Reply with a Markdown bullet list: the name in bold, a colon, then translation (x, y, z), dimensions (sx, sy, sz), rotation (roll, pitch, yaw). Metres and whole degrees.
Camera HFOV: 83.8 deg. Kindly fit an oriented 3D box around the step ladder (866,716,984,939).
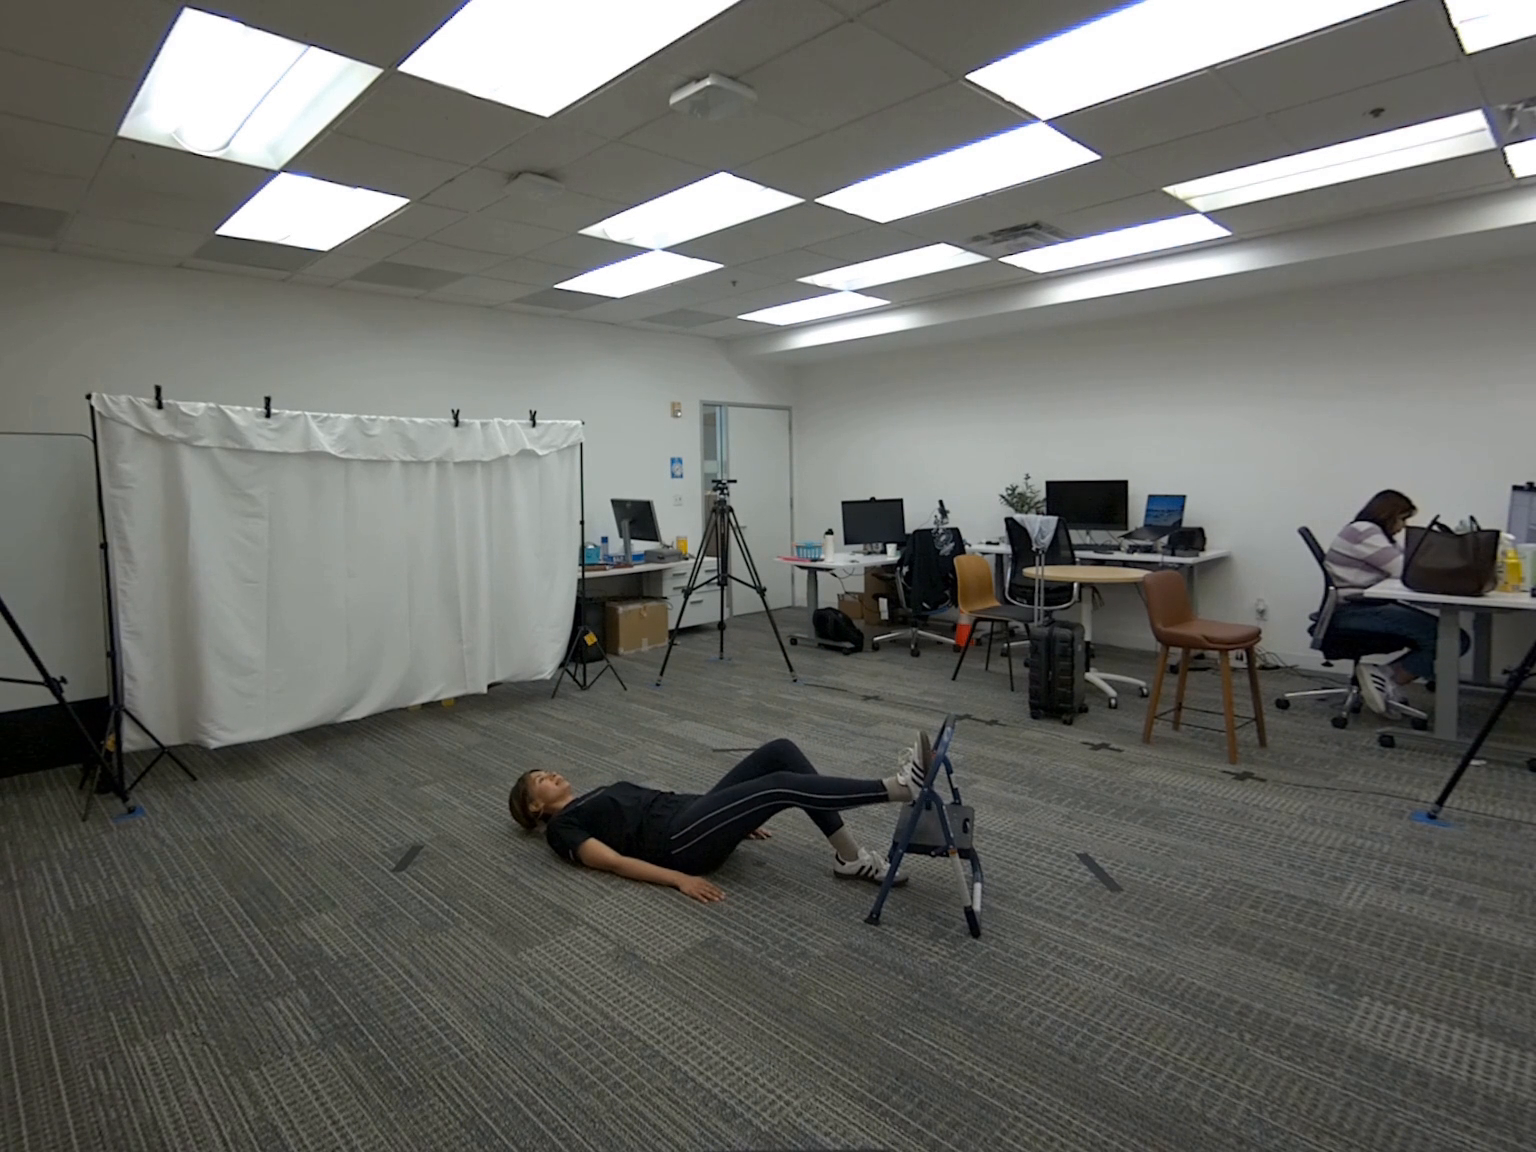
- **step ladder**: translation (0.525, 0.766, 2.801), dimensions (0.355, 0.604, 0.425), rotation (1, 5, 16)
